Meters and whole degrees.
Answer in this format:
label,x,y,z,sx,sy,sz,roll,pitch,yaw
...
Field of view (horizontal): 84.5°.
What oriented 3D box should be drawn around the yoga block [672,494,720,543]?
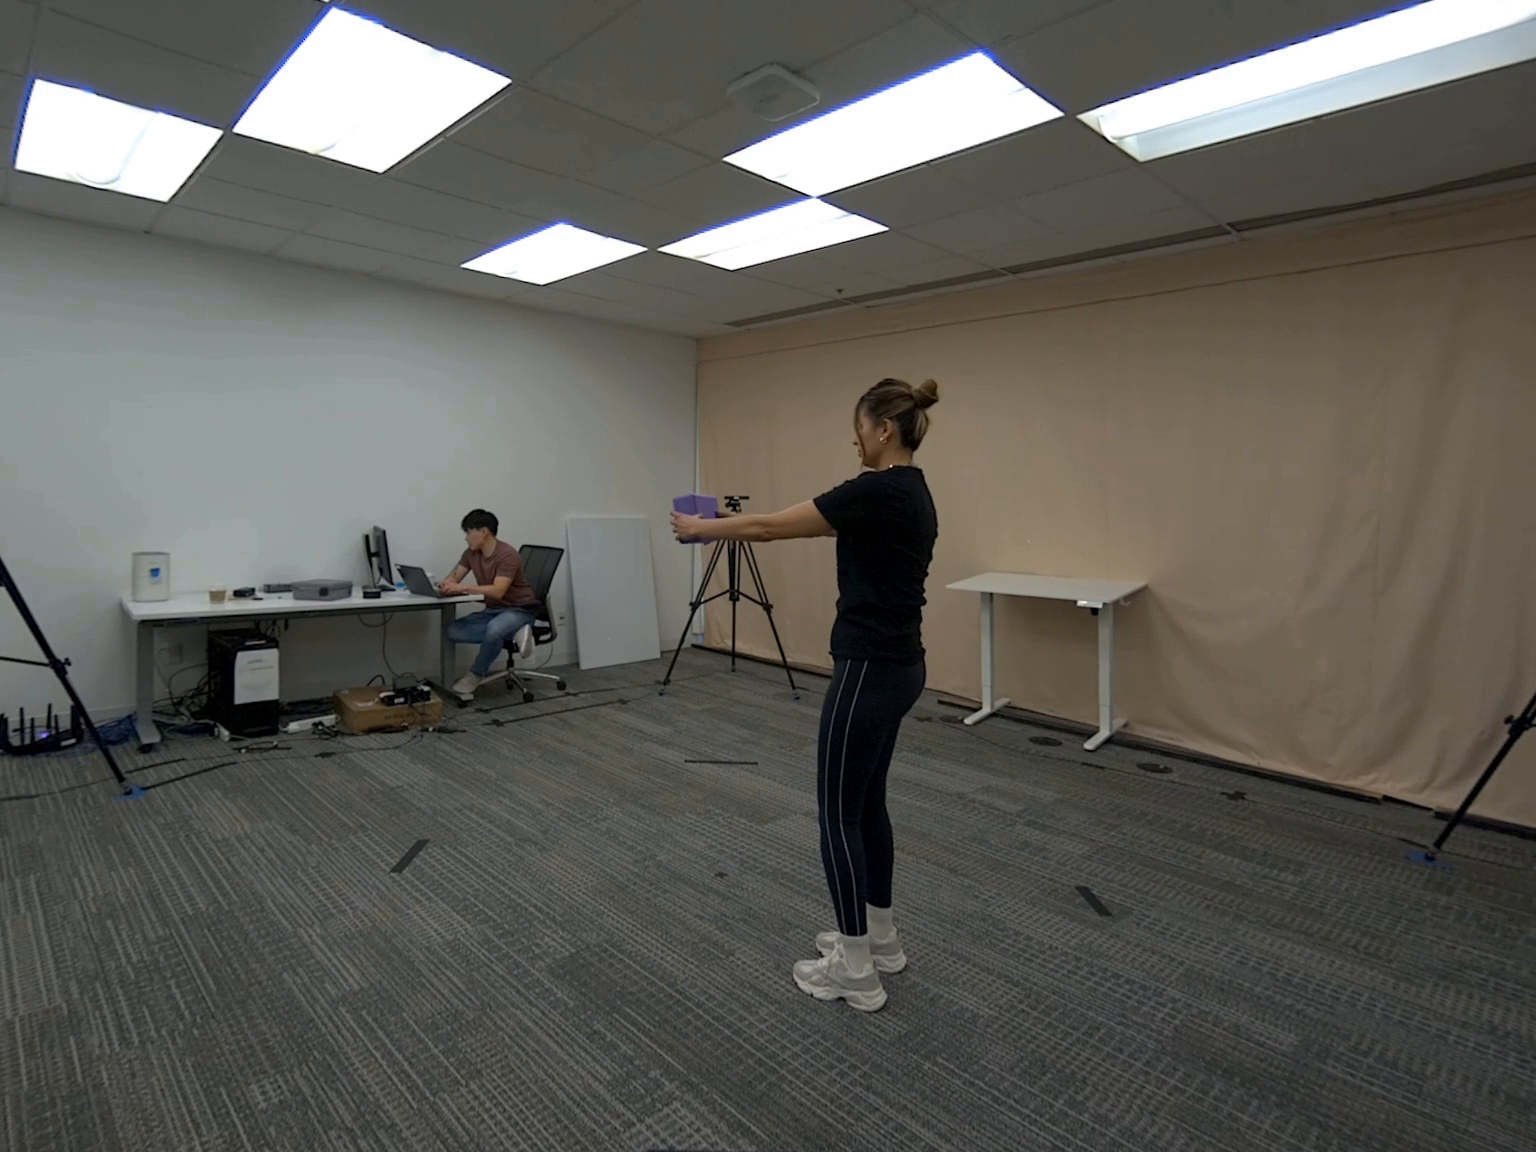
label,x,y,z,sx,sy,sz,roll,pitch,yaw
yoga block,-0.221,-0.178,2.674,0.077,0.149,0.227,-6,1,10
